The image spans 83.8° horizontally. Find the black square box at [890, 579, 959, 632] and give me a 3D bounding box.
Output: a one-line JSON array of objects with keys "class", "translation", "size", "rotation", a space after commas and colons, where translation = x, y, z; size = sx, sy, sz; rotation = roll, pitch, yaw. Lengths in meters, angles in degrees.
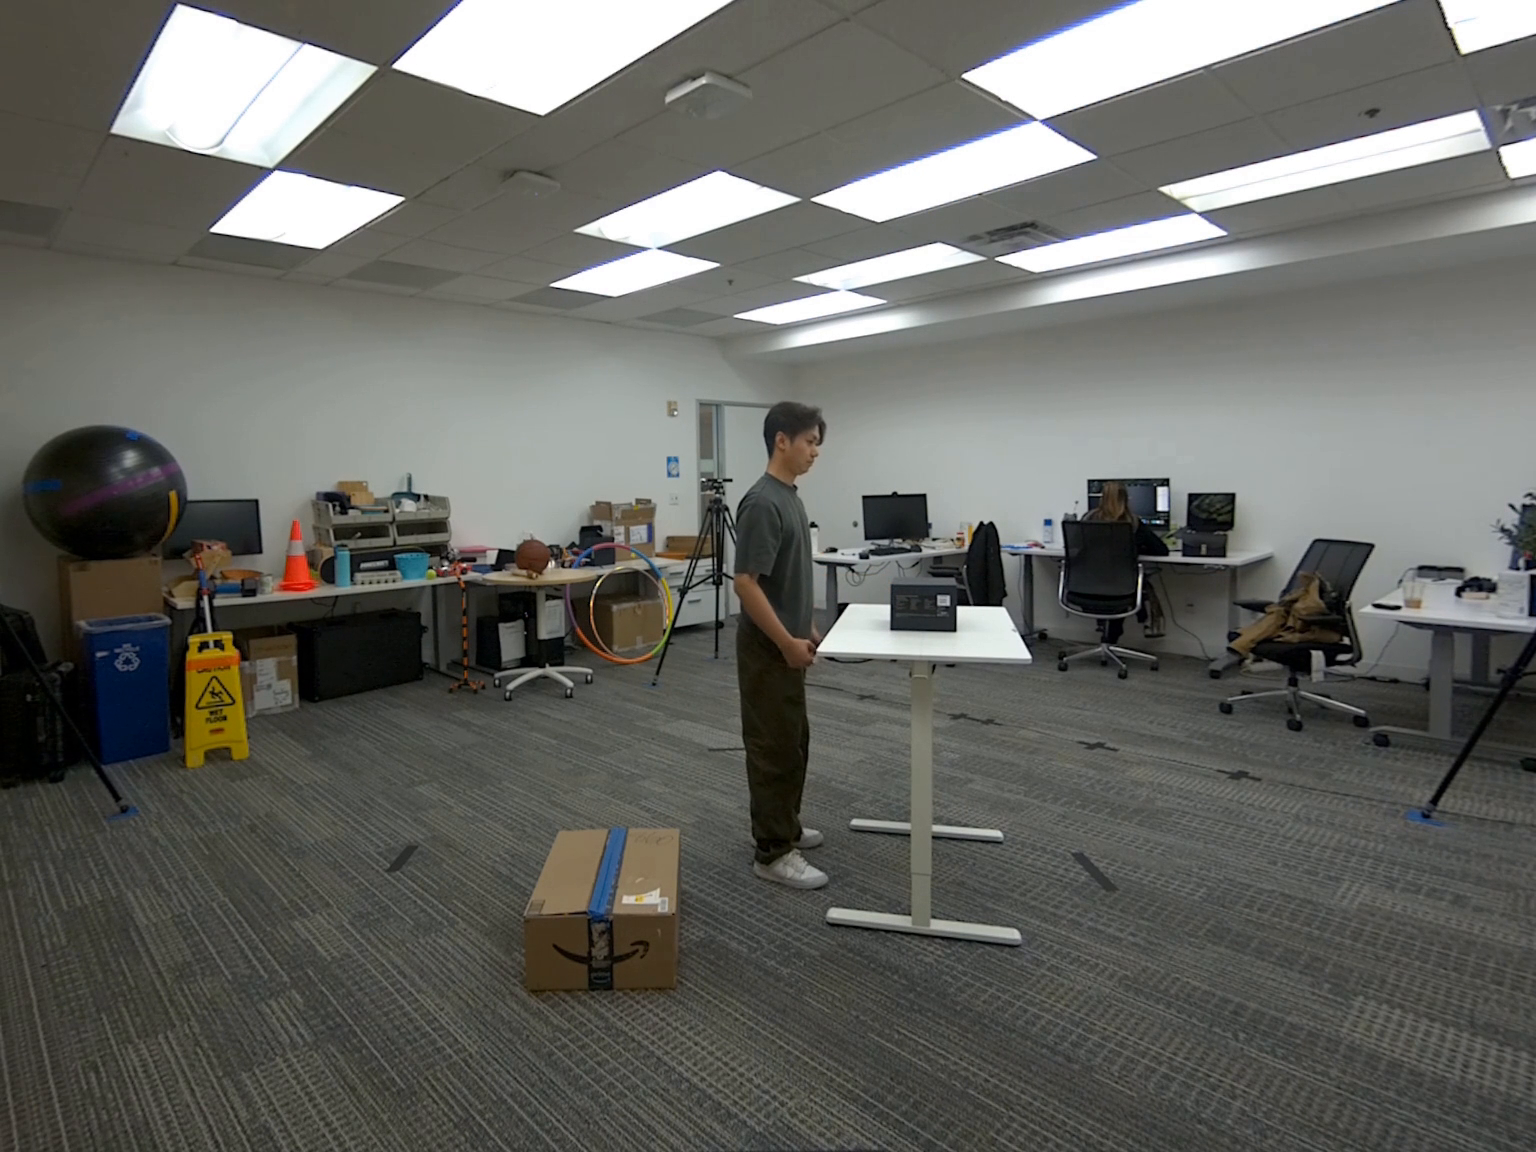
[{"class": "black square box", "translation": [0.539, 0.089, 2.927], "size": [0.220, 0.155, 0.225], "rotation": [1, 5, 13]}]
